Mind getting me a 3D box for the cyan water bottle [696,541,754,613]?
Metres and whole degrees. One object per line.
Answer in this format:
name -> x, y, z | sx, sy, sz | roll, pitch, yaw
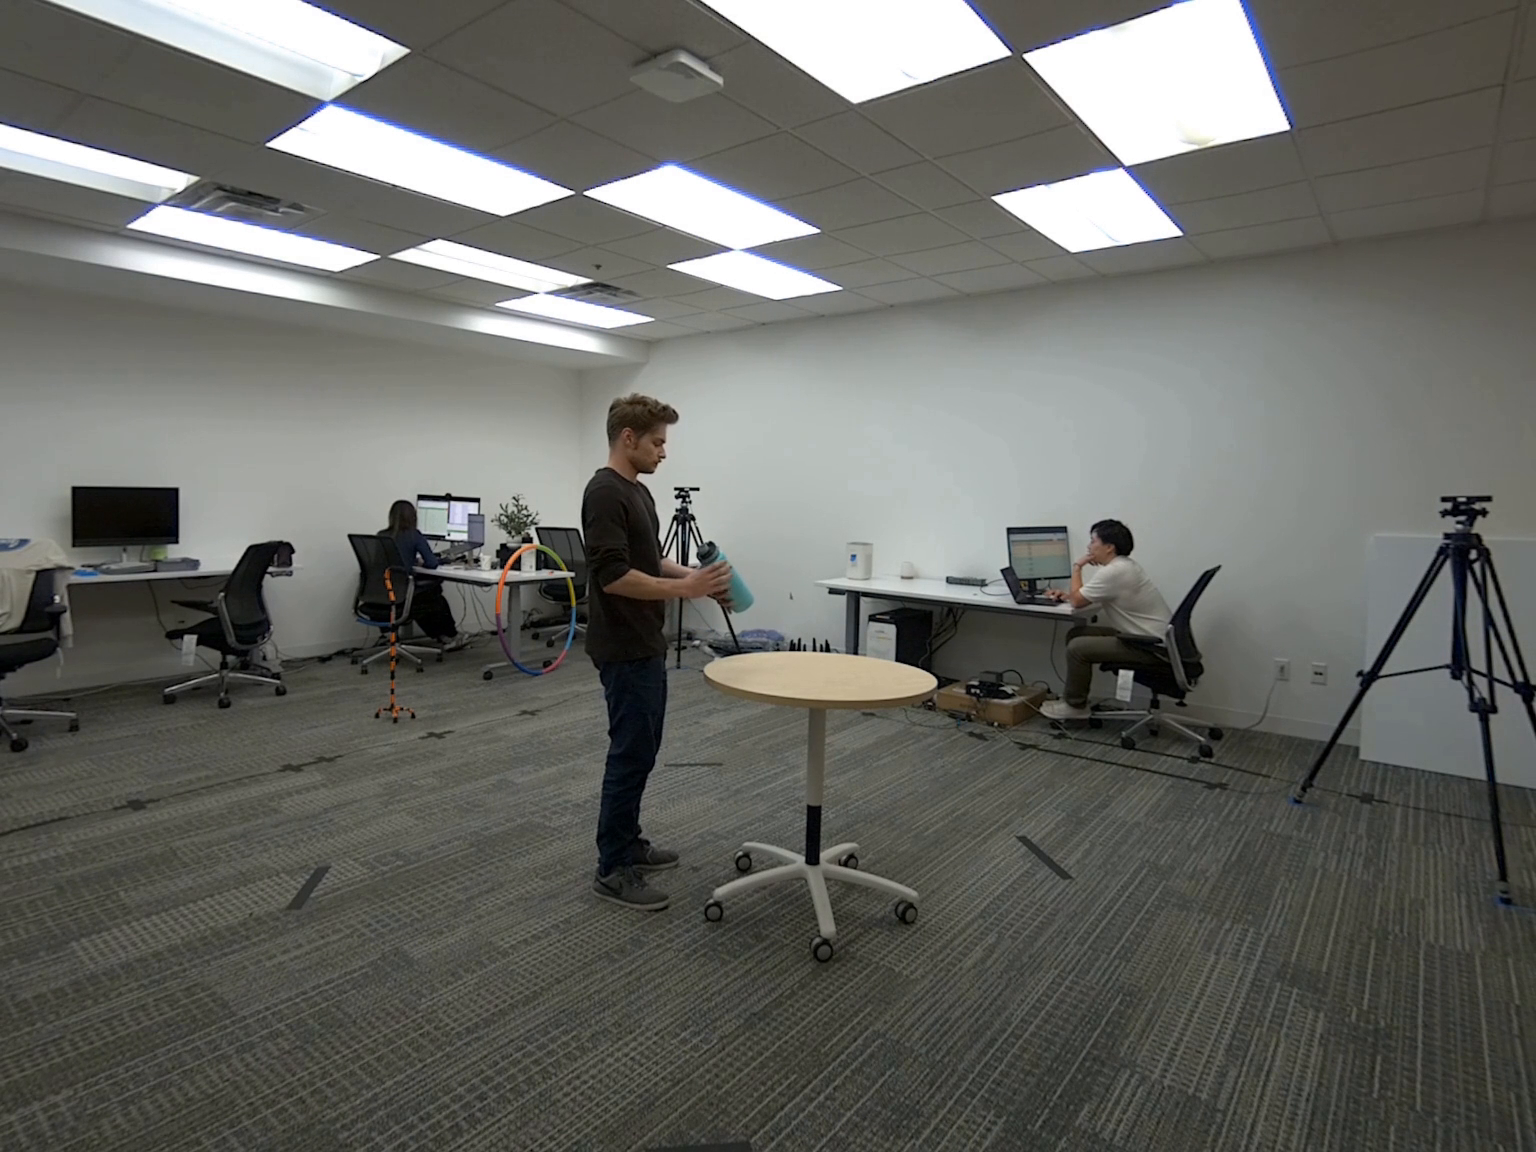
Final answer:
cyan water bottle -> -0.165, -0.004, 2.927 | 0.093, 0.275, 0.094 | -27, 25, 13
